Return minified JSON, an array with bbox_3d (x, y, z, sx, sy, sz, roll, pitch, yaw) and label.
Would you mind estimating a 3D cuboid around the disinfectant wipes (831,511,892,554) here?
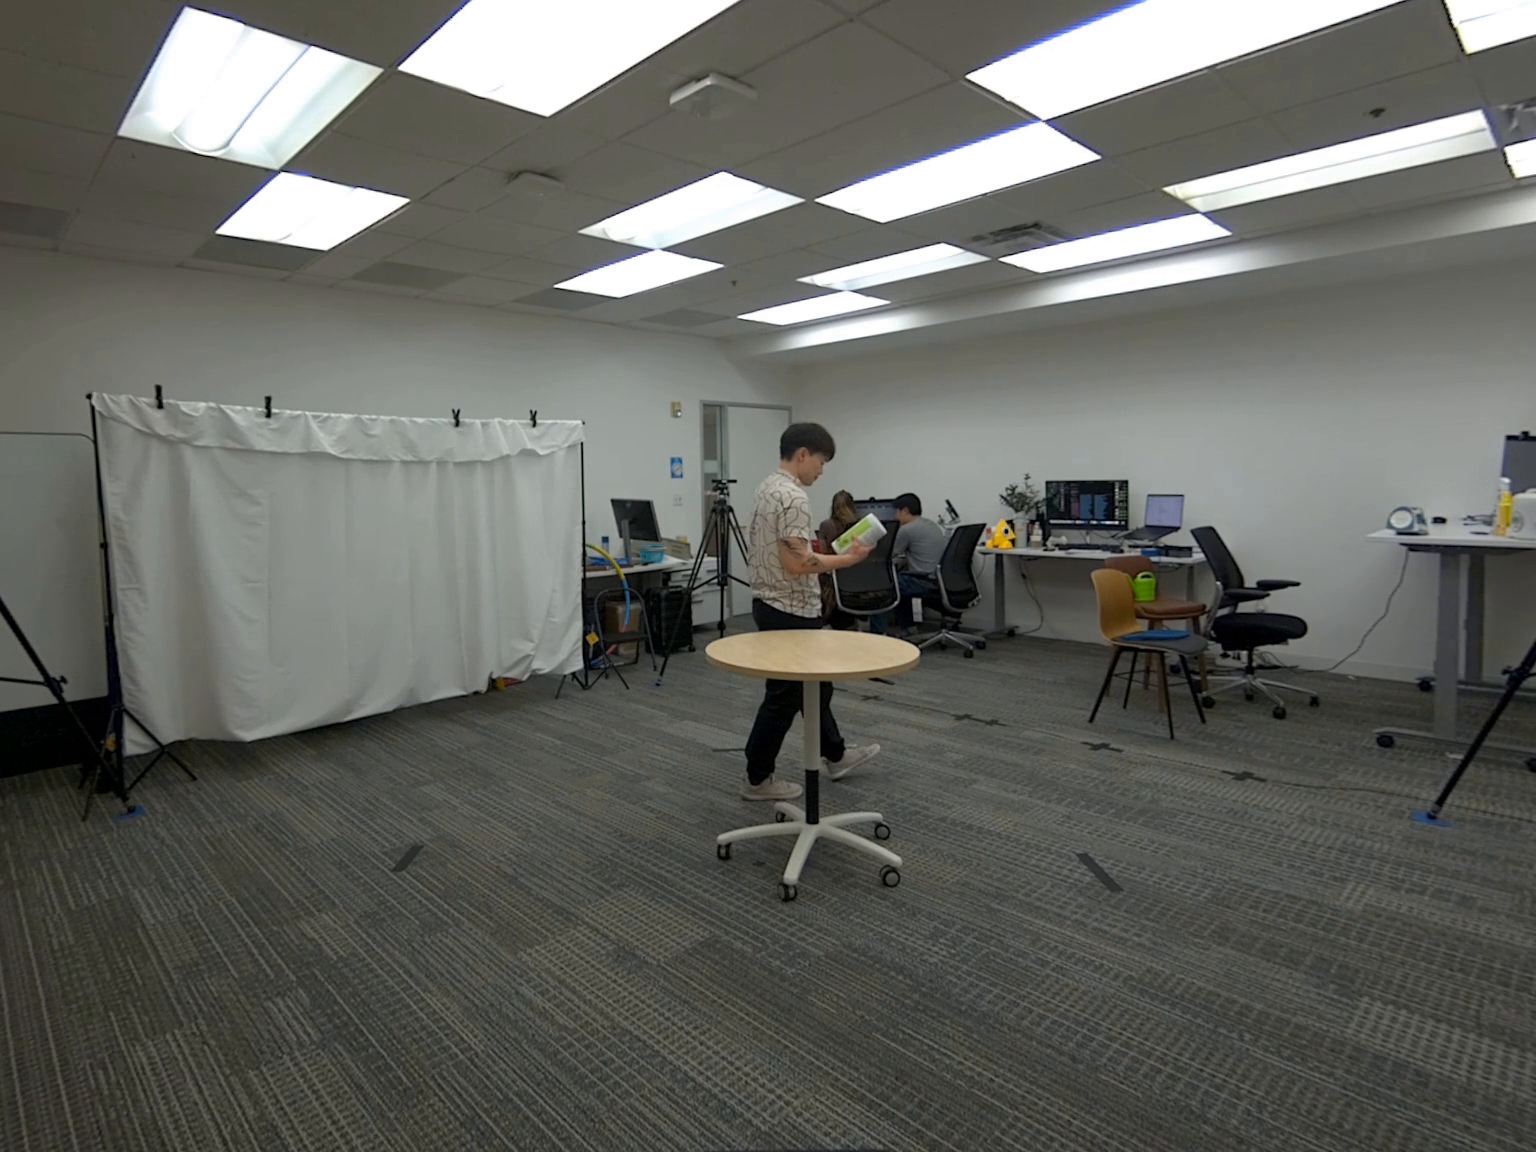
[{"bbox_3d":[0.389,-0.160,3.596,0.218,0.118,0.117,-36,-2,10],"label":"disinfectant wipes"}]
